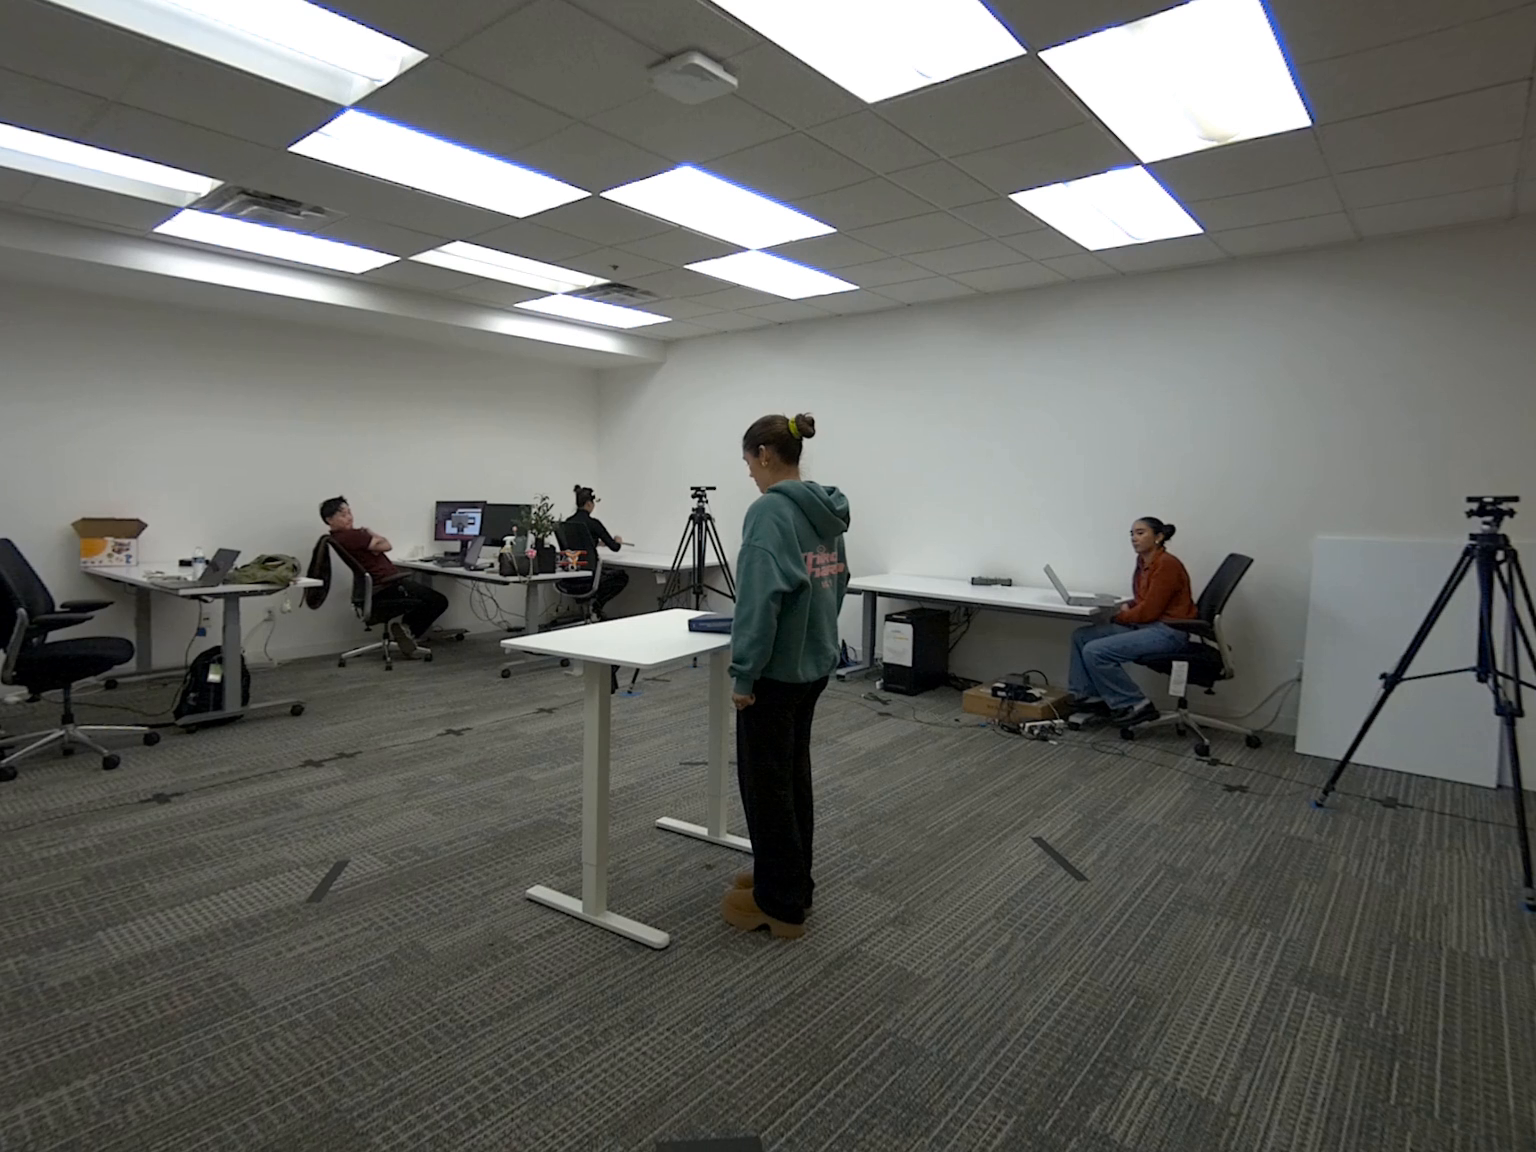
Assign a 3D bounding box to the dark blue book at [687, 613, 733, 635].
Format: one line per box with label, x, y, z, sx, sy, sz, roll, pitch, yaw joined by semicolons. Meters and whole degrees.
dark blue book;-0.160;0.161;3.037;0.249;0.045;0.161;-3;3;17
